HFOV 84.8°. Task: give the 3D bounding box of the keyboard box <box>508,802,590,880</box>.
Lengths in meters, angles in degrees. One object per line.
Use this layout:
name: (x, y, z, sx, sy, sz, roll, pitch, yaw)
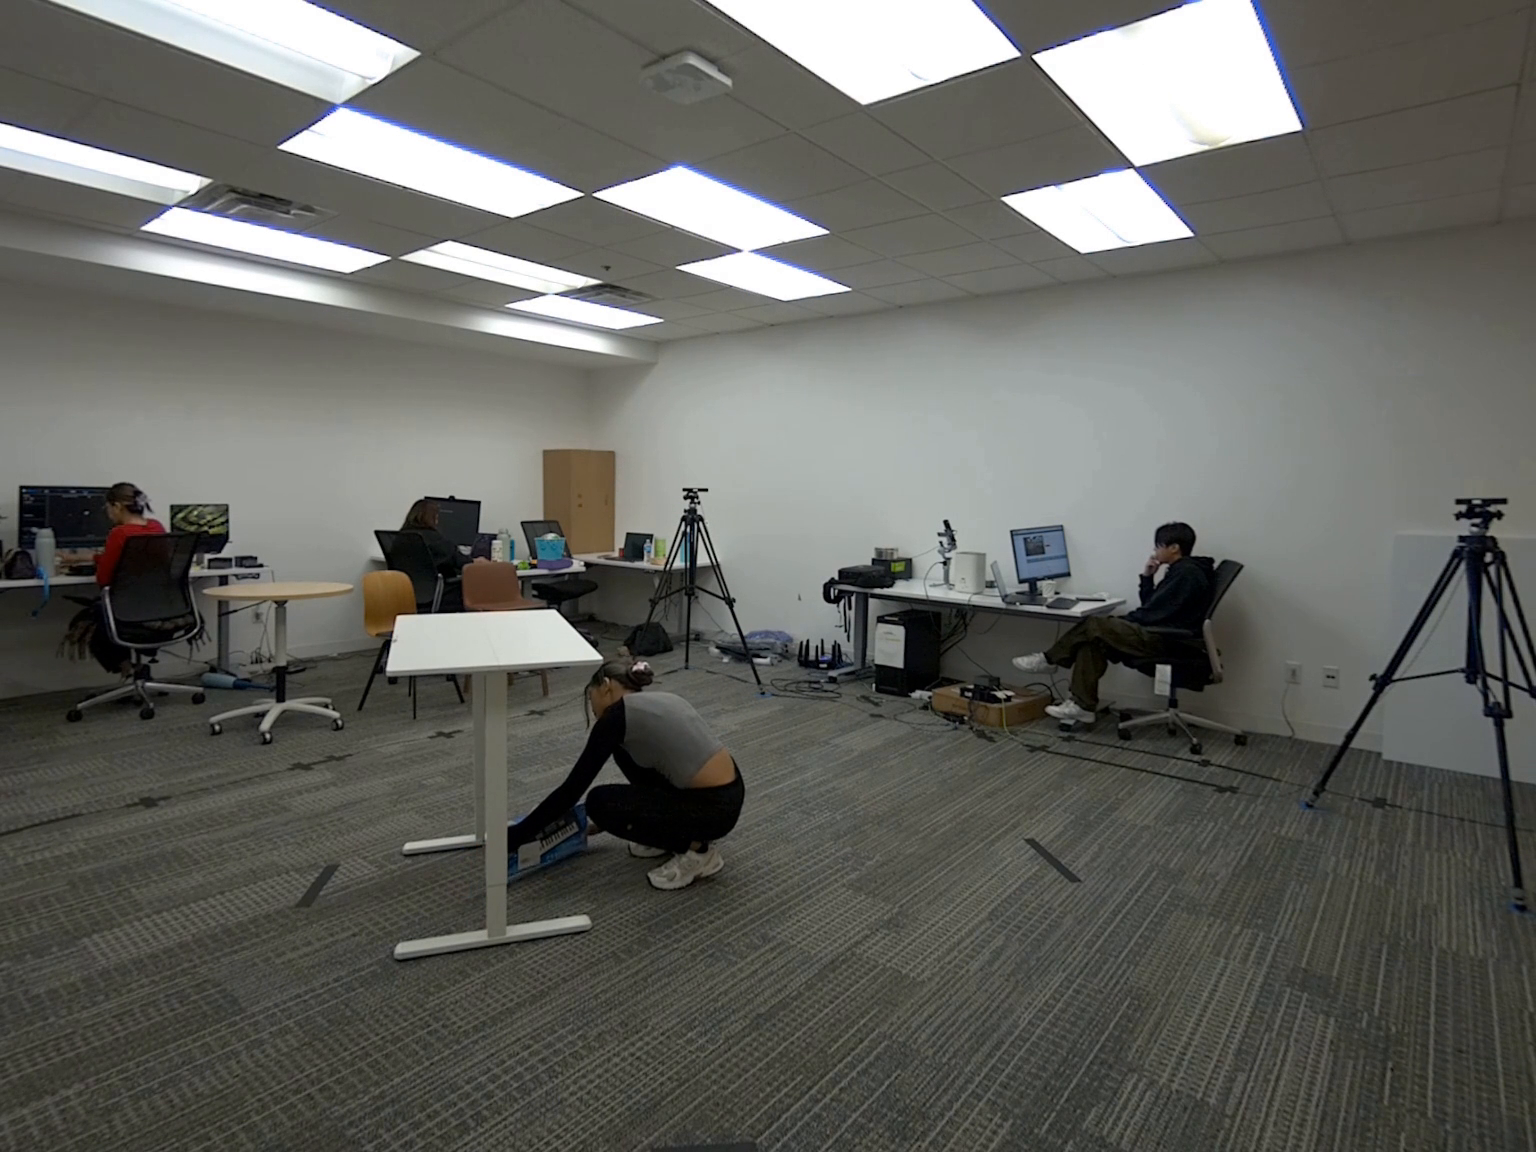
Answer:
keyboard box: (-0.842, 0.955, 3.096, 0.061, 0.176, 0.424, -4, -1, 34)
